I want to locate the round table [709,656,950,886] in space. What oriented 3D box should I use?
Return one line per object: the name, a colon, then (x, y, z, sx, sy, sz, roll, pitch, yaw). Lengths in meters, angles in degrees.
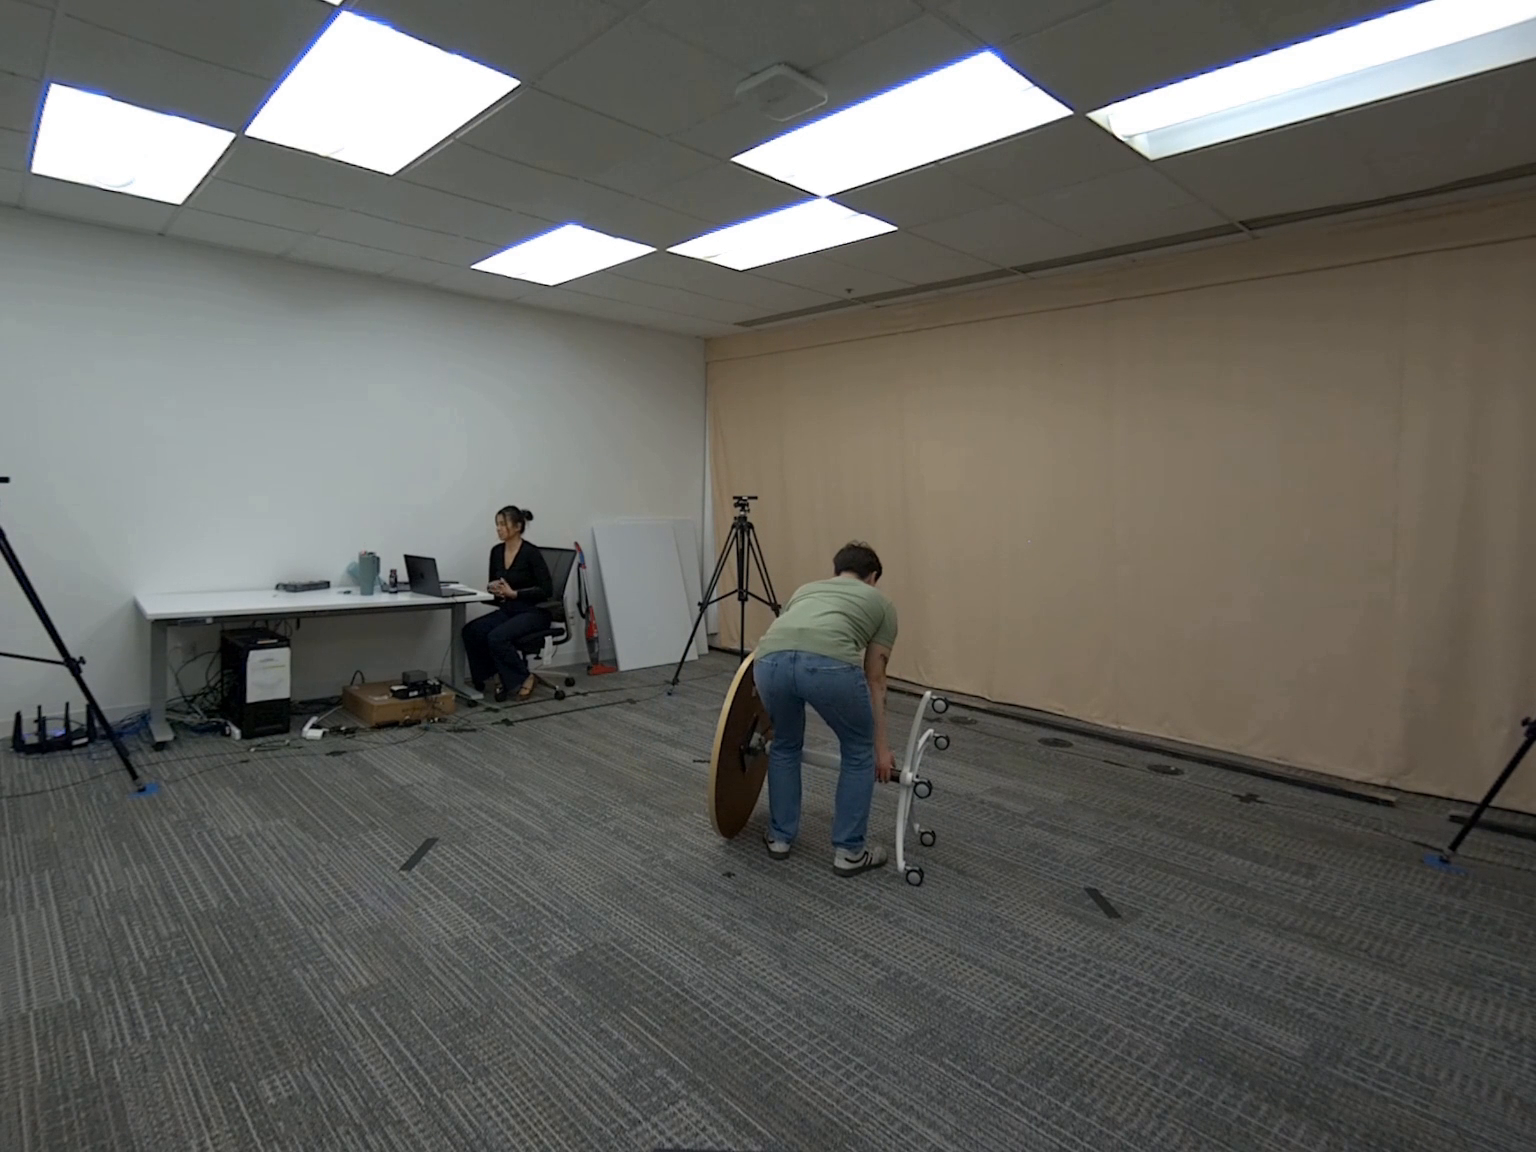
round table: (0.276, 0.744, 3.361, 0.807, 0.761, 0.754, 9, 6, 18)
